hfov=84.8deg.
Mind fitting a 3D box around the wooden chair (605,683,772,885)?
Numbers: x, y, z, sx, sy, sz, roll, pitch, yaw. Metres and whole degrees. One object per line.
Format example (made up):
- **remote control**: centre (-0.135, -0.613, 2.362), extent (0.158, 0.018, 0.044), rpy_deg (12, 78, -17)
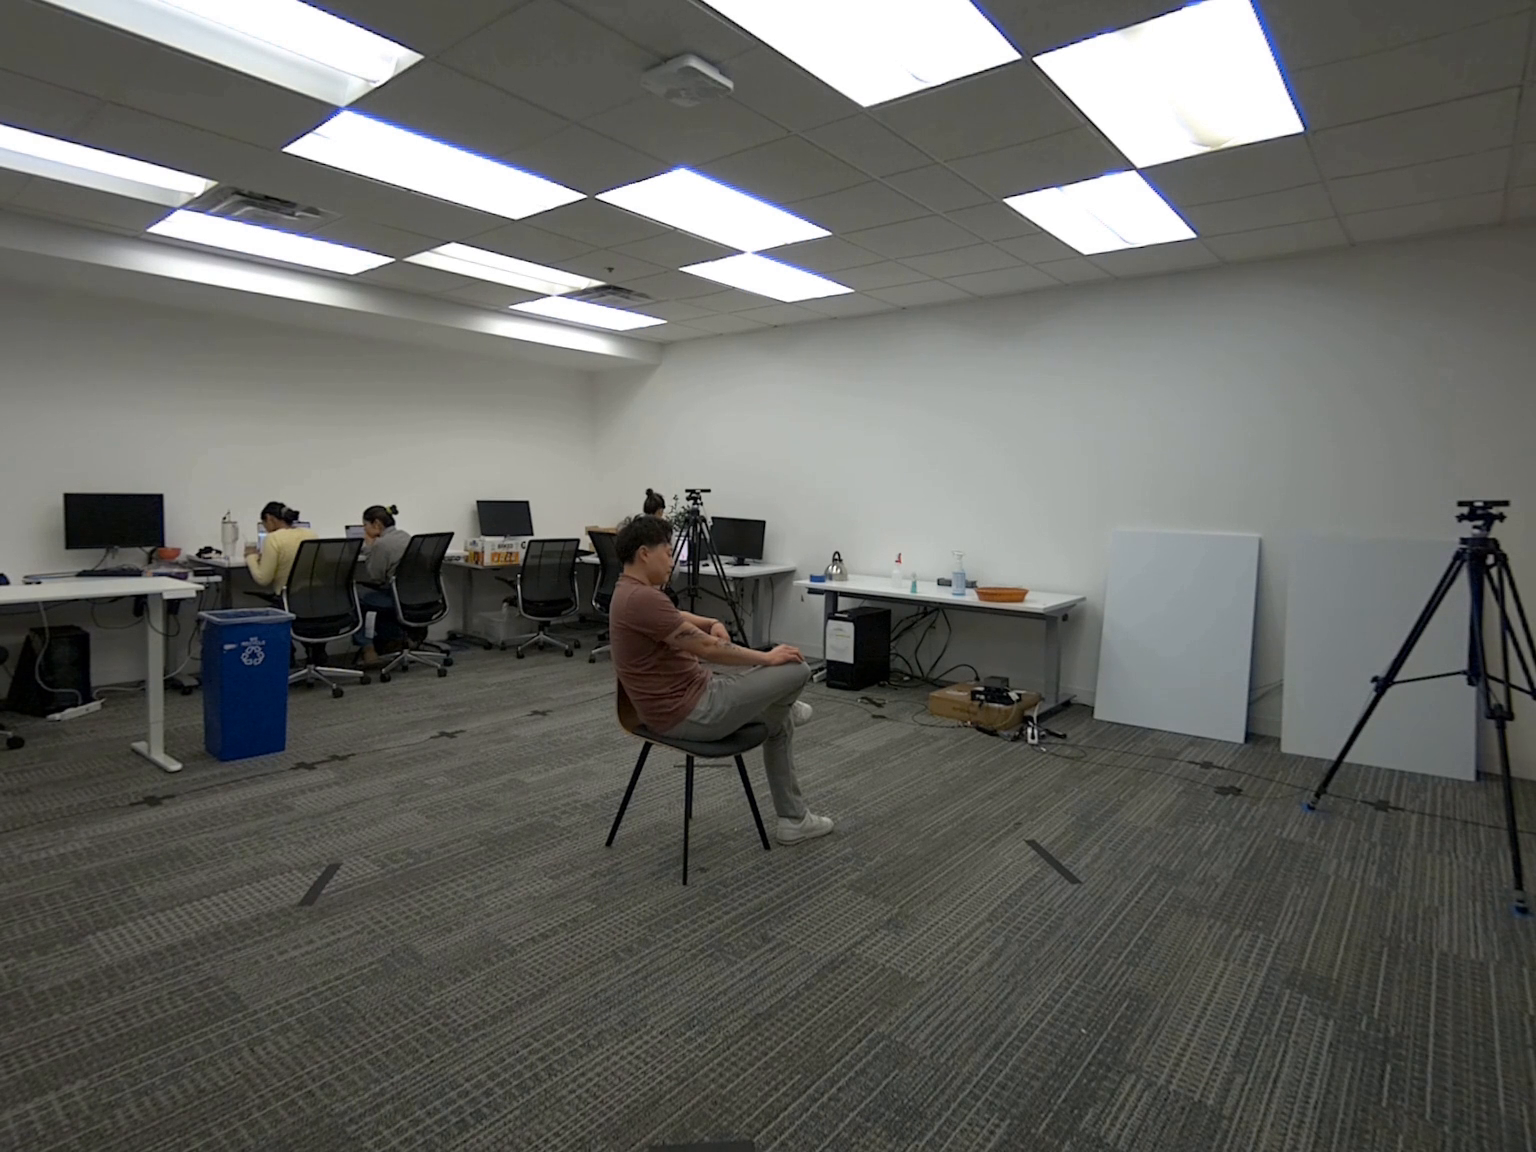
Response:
- **wooden chair**: centre (-0.308, 0.630, 3.269), extent (0.539, 0.877, 0.463), rpy_deg (-2, 0, 44)
